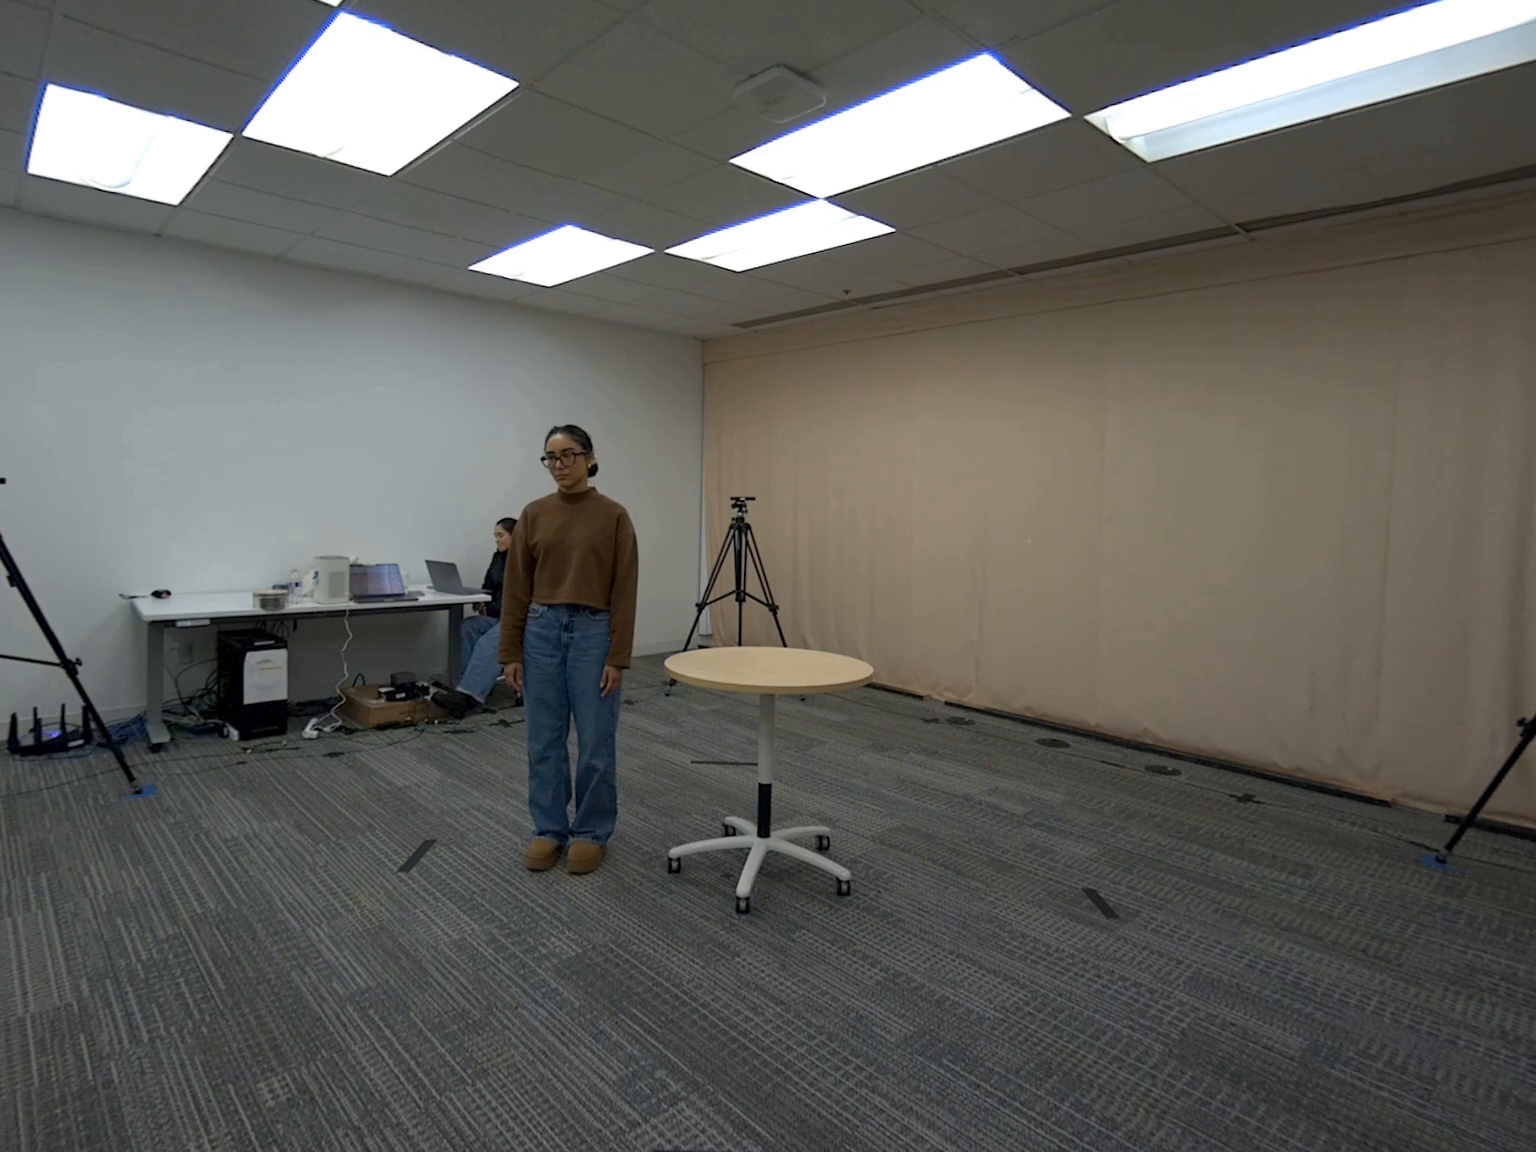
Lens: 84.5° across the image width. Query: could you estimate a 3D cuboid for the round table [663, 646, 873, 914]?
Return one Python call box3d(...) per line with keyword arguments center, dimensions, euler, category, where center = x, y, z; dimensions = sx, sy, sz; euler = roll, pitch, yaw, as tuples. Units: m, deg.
box3d(center=(-0.021, 0.718, 3.126), dimensions=(0.763, 0.792, 0.766), euler=(1, 4, -1), category="round table")
